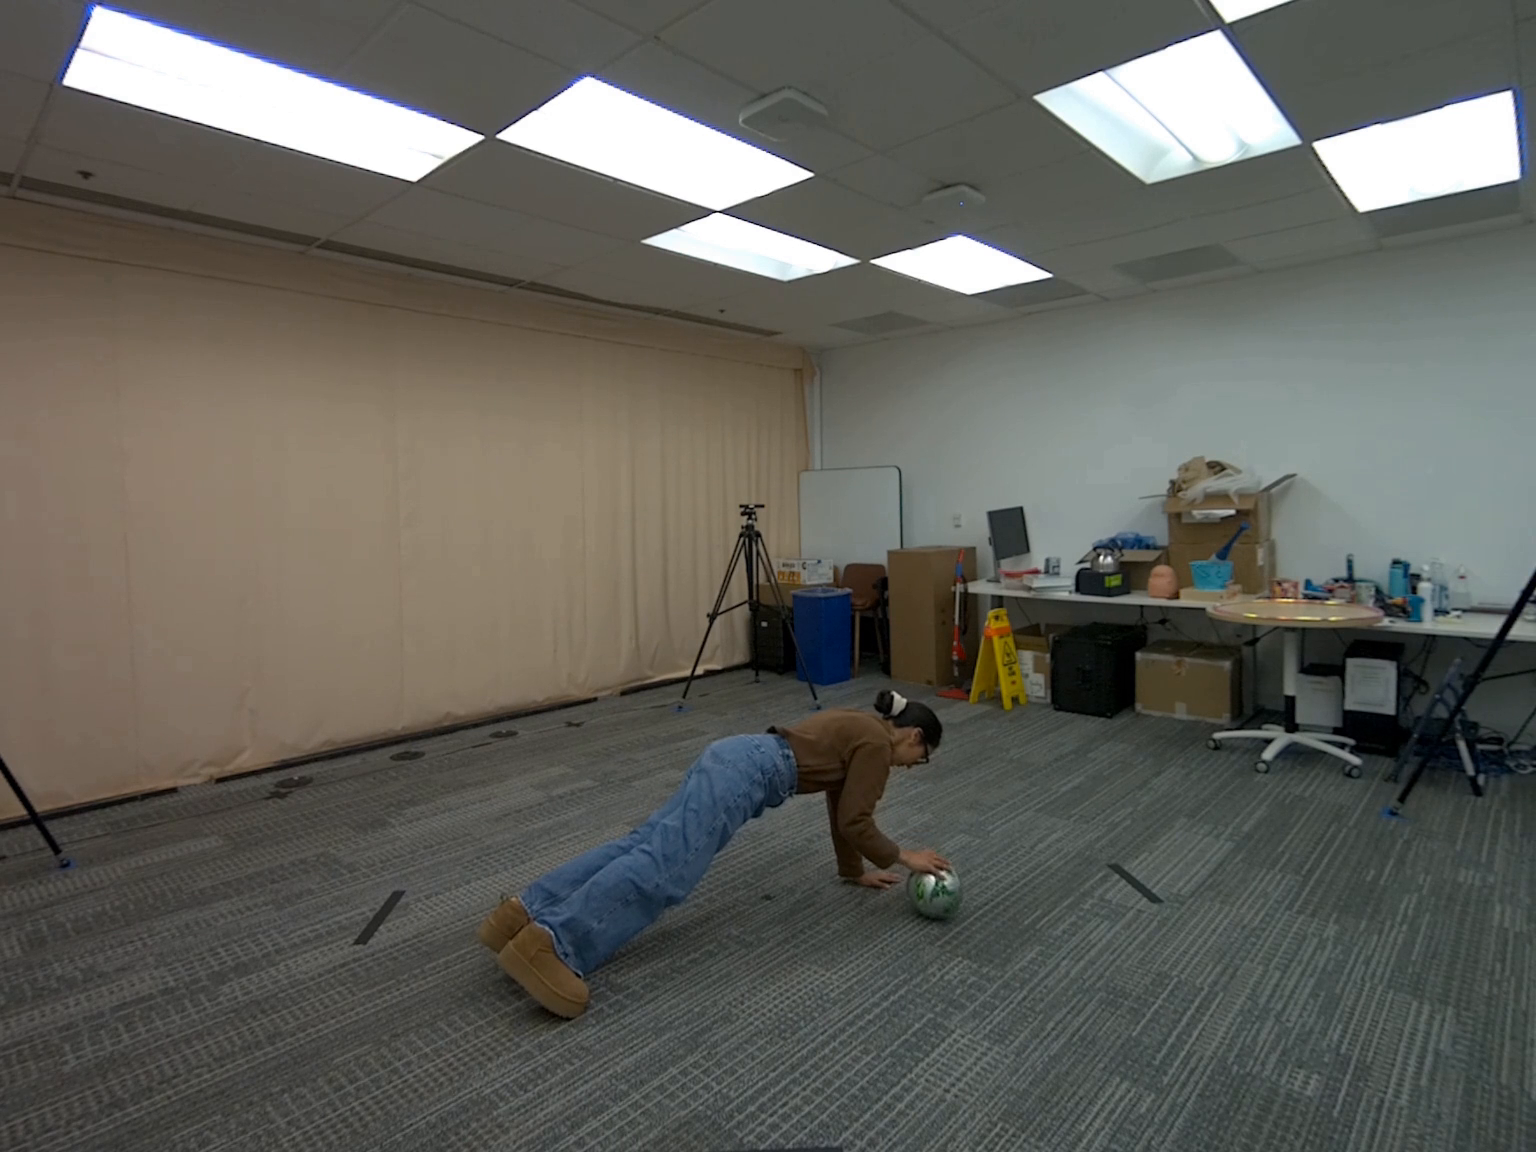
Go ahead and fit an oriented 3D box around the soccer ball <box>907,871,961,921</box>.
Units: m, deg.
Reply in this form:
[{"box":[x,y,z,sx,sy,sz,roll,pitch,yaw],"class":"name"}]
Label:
[{"box":[0.567,1.051,2.818,0.187,0.187,0.188,-1,4,-2],"class":"soccer ball"}]
